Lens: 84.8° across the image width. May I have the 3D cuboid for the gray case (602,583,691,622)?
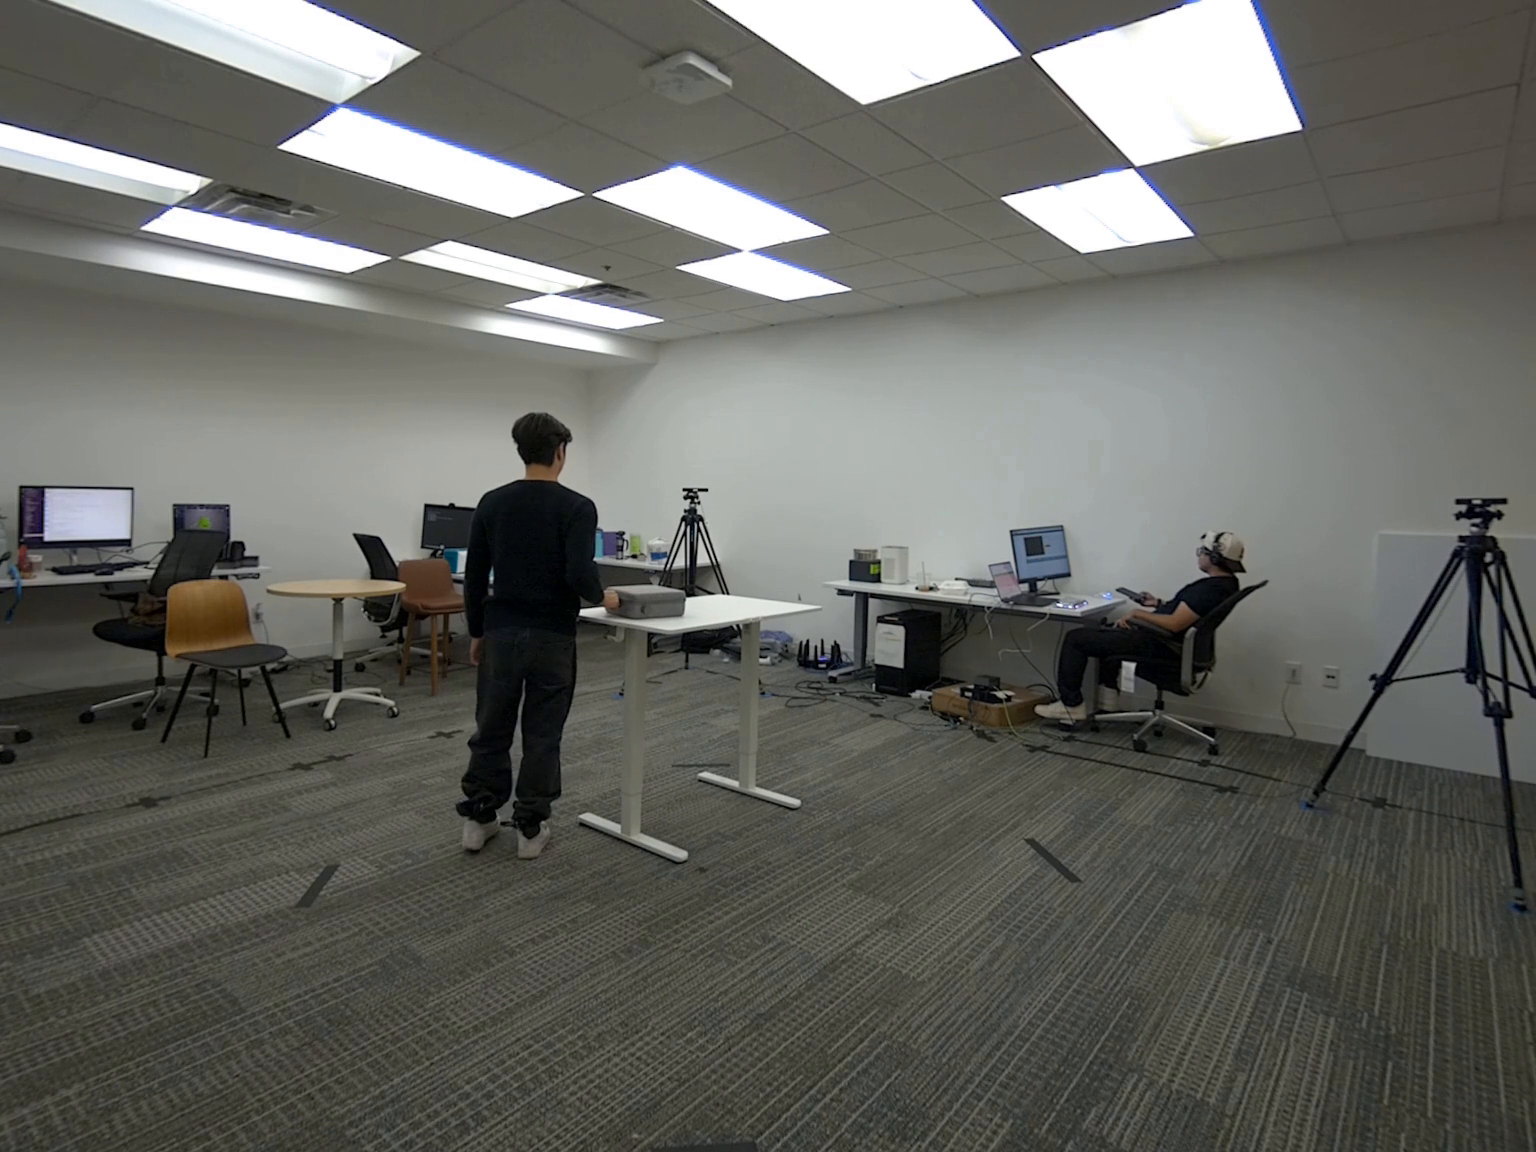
[{"bbox_3d":[-0.494,0.100,3.397,0.253,0.104,0.265,-3,7,-37],"label":"gray case"}]
